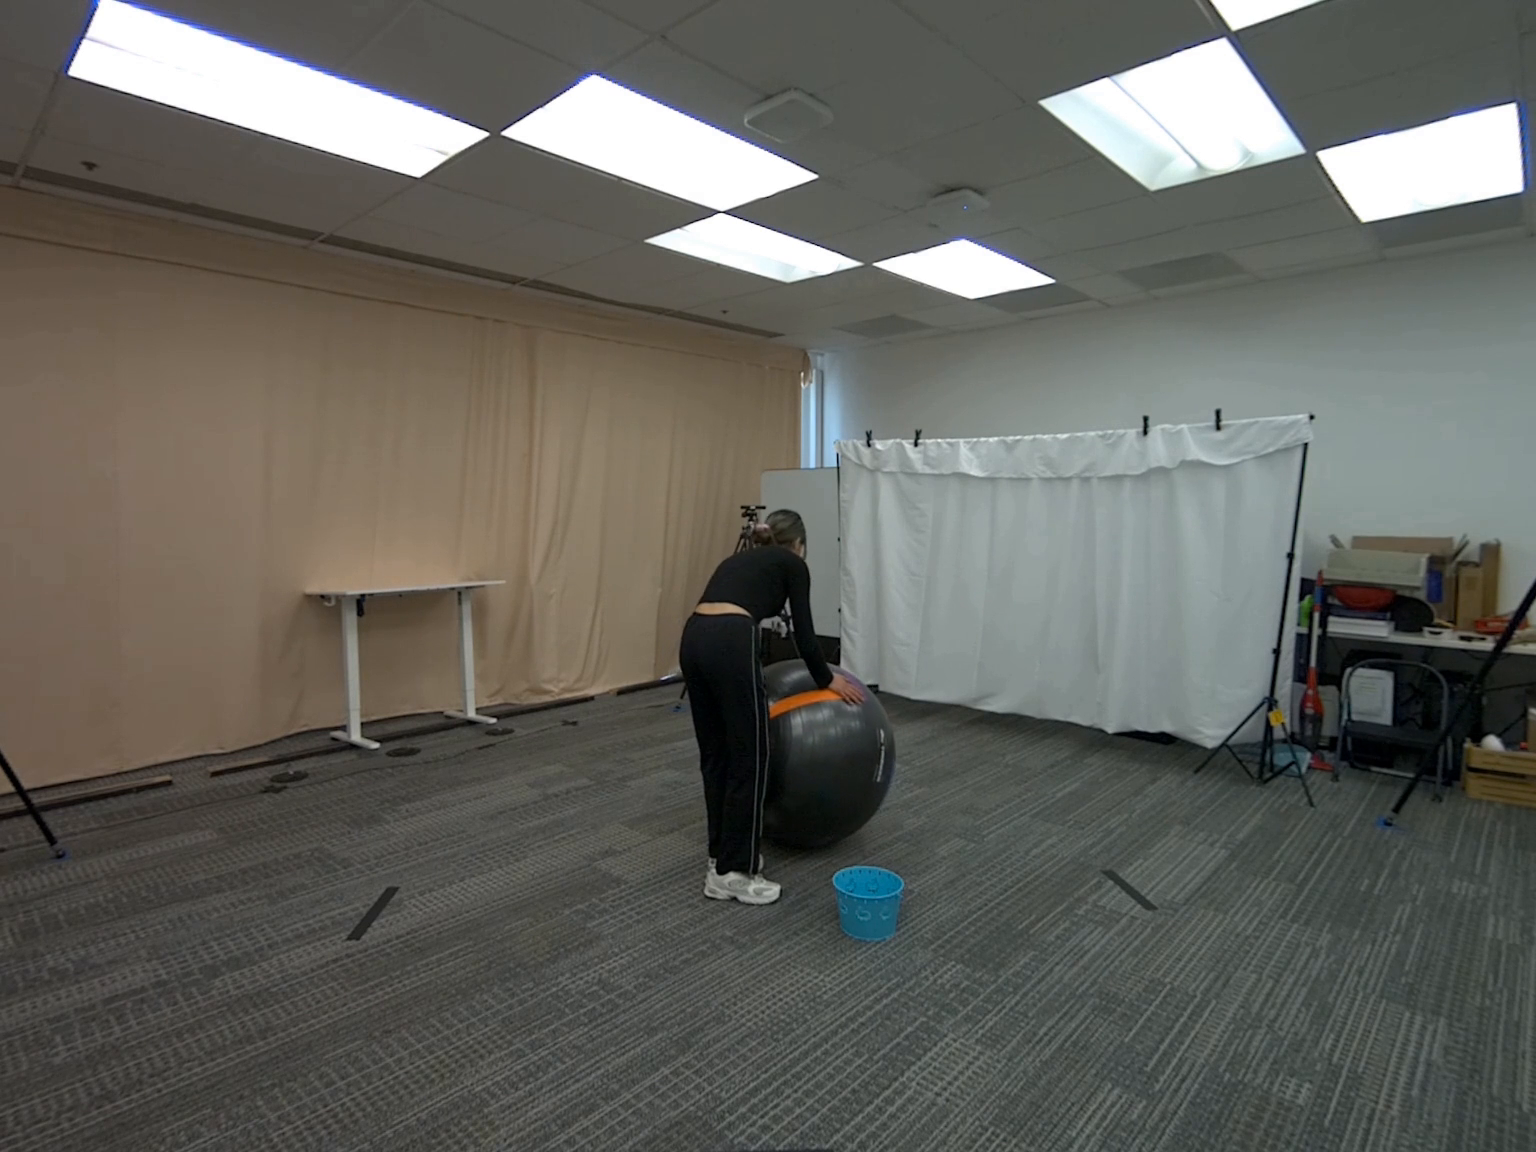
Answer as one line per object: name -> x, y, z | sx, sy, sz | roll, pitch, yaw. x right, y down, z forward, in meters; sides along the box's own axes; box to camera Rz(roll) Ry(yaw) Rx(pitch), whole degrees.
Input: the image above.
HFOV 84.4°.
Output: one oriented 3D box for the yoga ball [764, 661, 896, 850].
yoga ball -> 0.146, 0.724, 3.514 | 0.757, 0.756, 0.760 | 0, 4, -2
